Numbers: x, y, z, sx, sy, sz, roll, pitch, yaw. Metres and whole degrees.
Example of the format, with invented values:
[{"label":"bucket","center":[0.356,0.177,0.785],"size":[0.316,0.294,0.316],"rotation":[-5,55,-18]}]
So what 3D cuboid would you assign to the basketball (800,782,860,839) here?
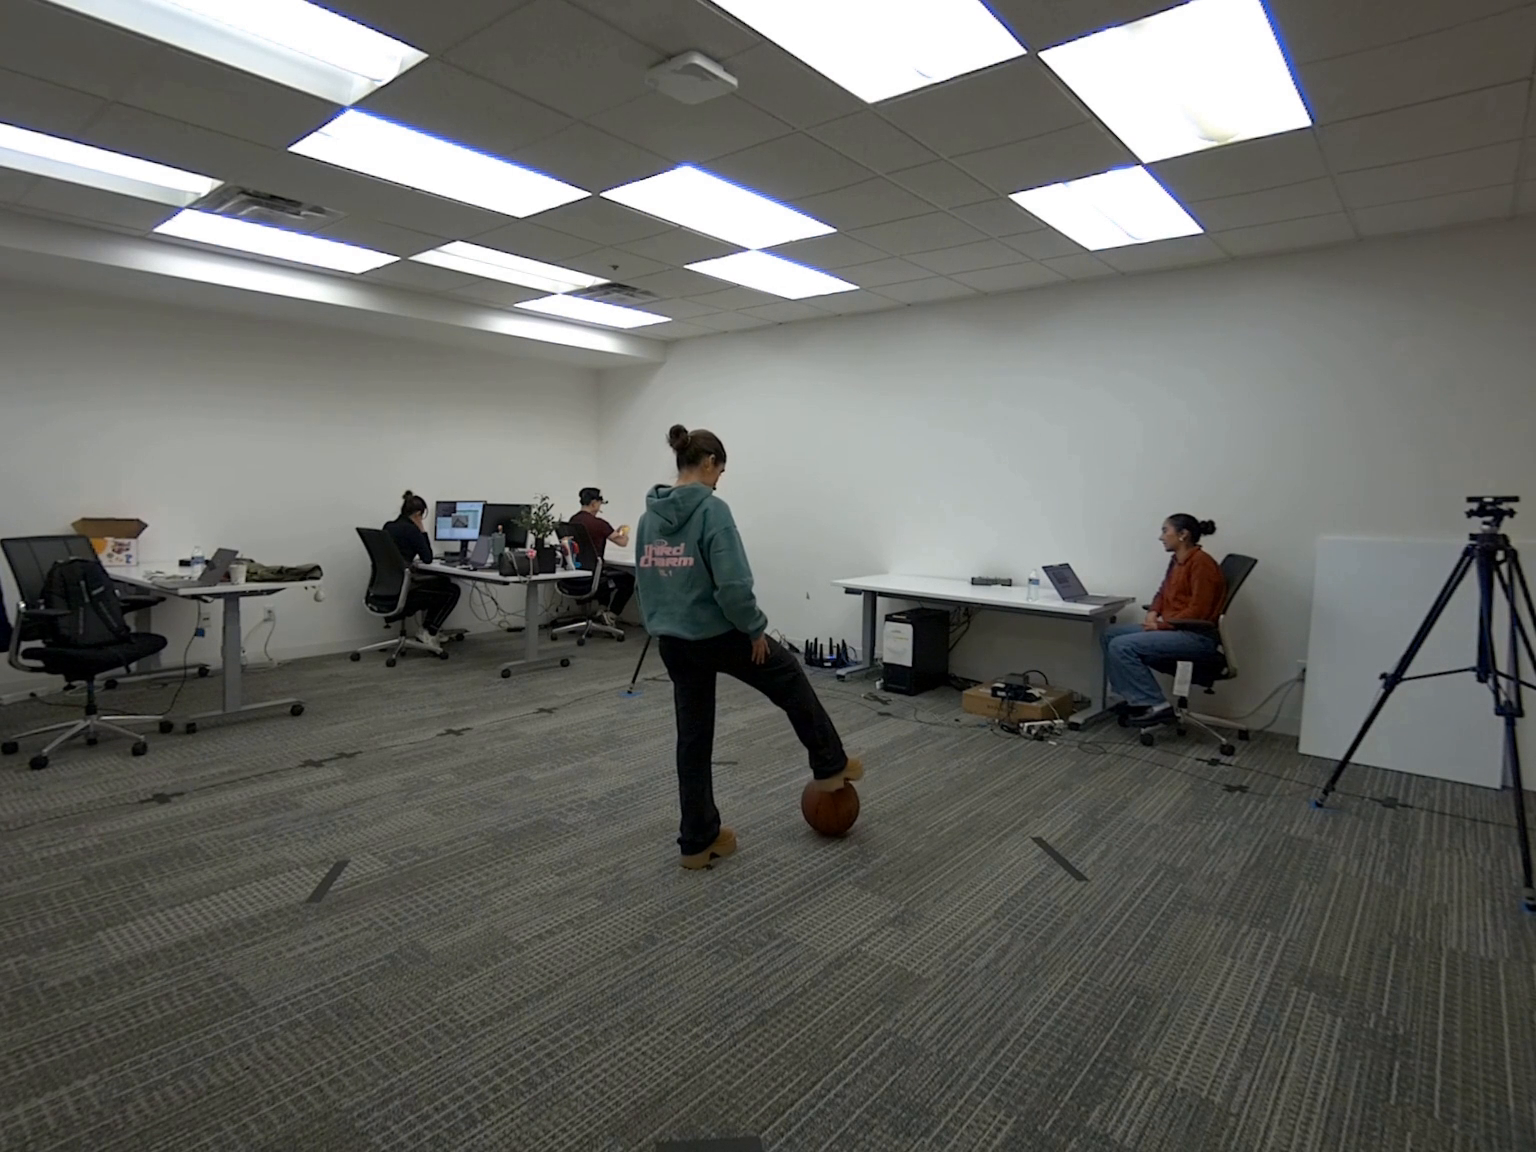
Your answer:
[{"label":"basketball","center":[0.230,0.915,3.446],"size":[0.236,0.235,0.237],"rotation":[1,4,-2]}]
